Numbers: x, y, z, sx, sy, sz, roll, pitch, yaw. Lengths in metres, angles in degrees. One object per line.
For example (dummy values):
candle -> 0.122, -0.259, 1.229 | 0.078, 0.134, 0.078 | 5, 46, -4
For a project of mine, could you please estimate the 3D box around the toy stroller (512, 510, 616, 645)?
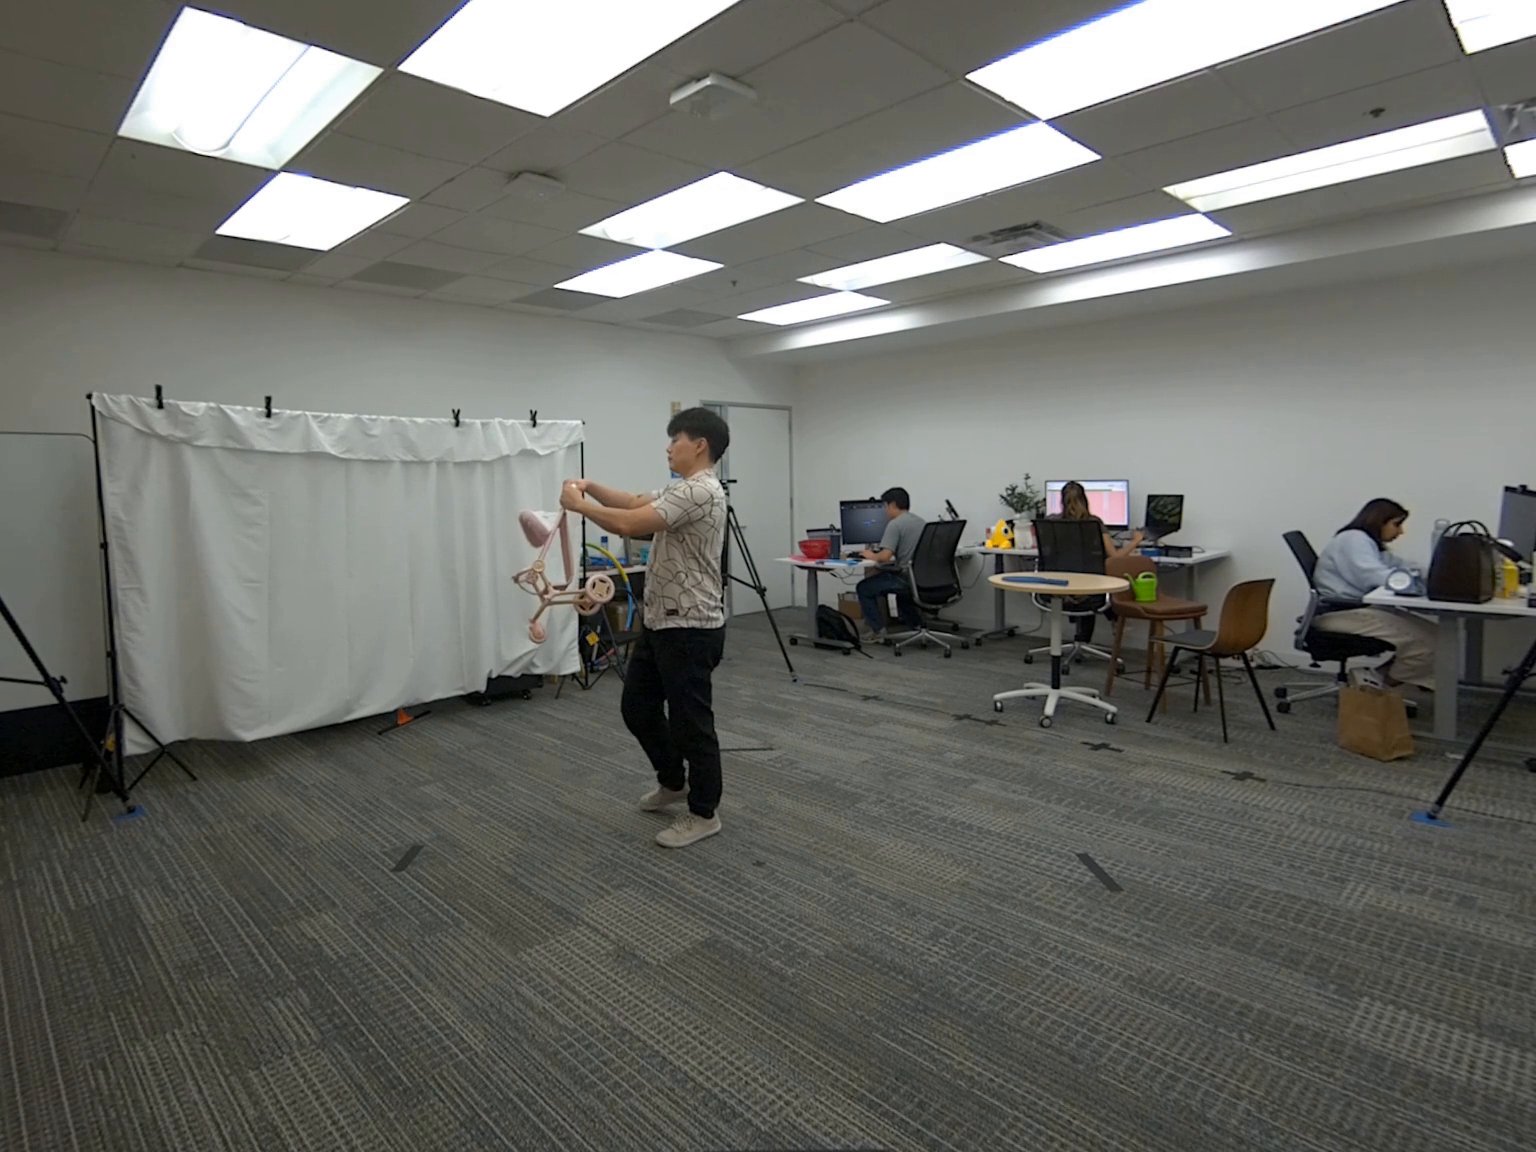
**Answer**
toy stroller -> -0.813, -0.039, 3.230 | 0.337, 0.540, 0.282 | -18, -8, -19
